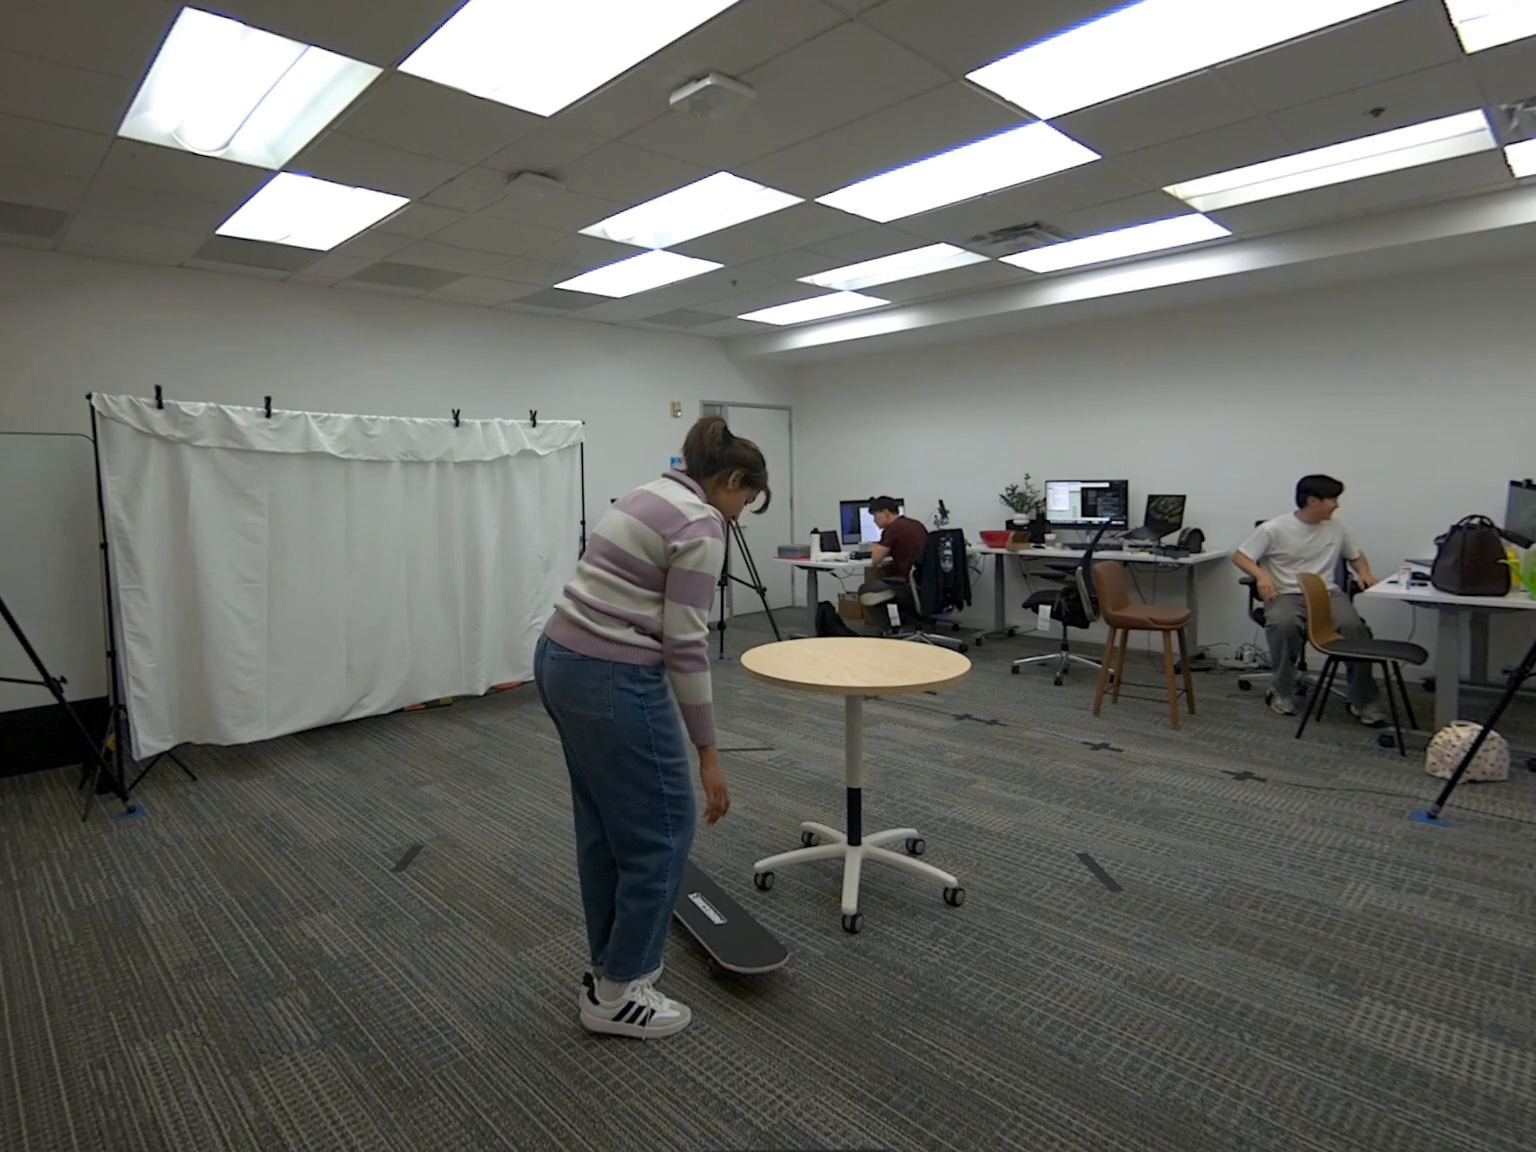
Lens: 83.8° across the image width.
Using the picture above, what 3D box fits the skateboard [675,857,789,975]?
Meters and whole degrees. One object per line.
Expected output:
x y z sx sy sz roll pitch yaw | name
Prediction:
-0.180 1.051 2.618 0.189 0.110 0.807 -5 8 -29 | skateboard
